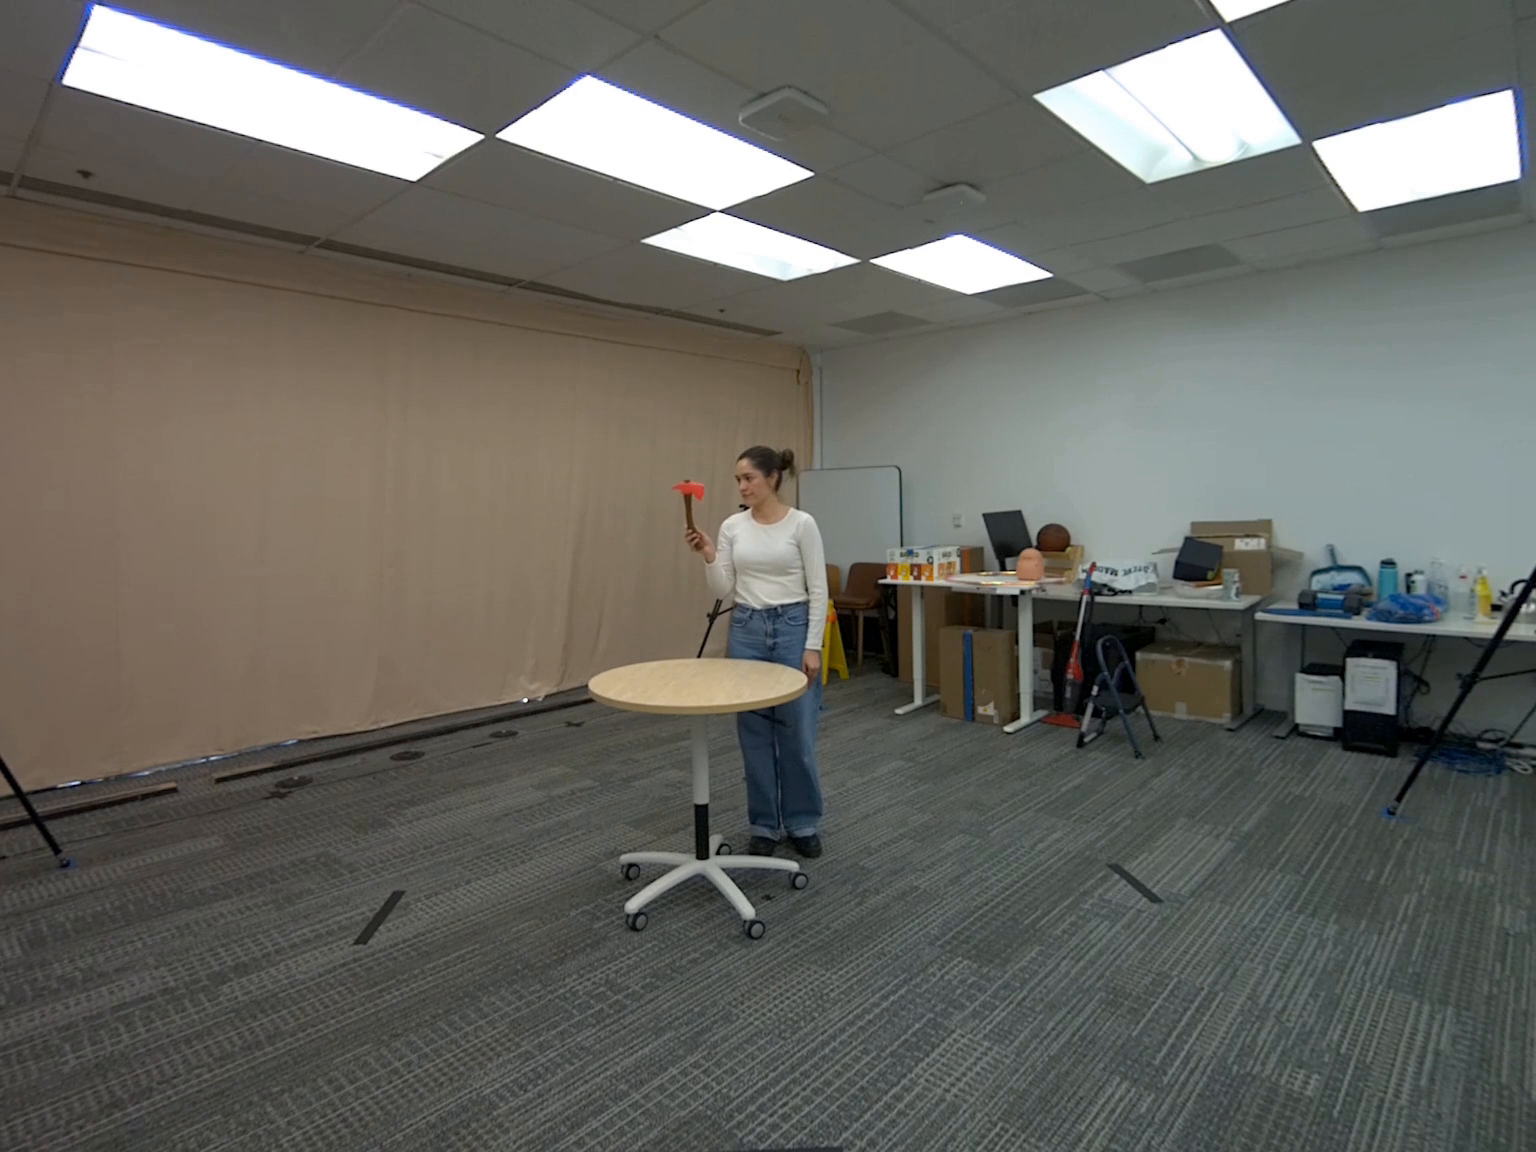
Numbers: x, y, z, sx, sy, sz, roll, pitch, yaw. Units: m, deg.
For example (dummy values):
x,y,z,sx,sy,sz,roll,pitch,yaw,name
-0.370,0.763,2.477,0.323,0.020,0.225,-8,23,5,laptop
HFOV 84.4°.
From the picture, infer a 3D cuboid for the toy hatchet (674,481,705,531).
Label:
x,y,z,sx,sy,sz,roll,pitch,yaw,name
-0.266,-0.245,3.236,0.133,0.268,0.029,-20,6,20,toy hatchet
